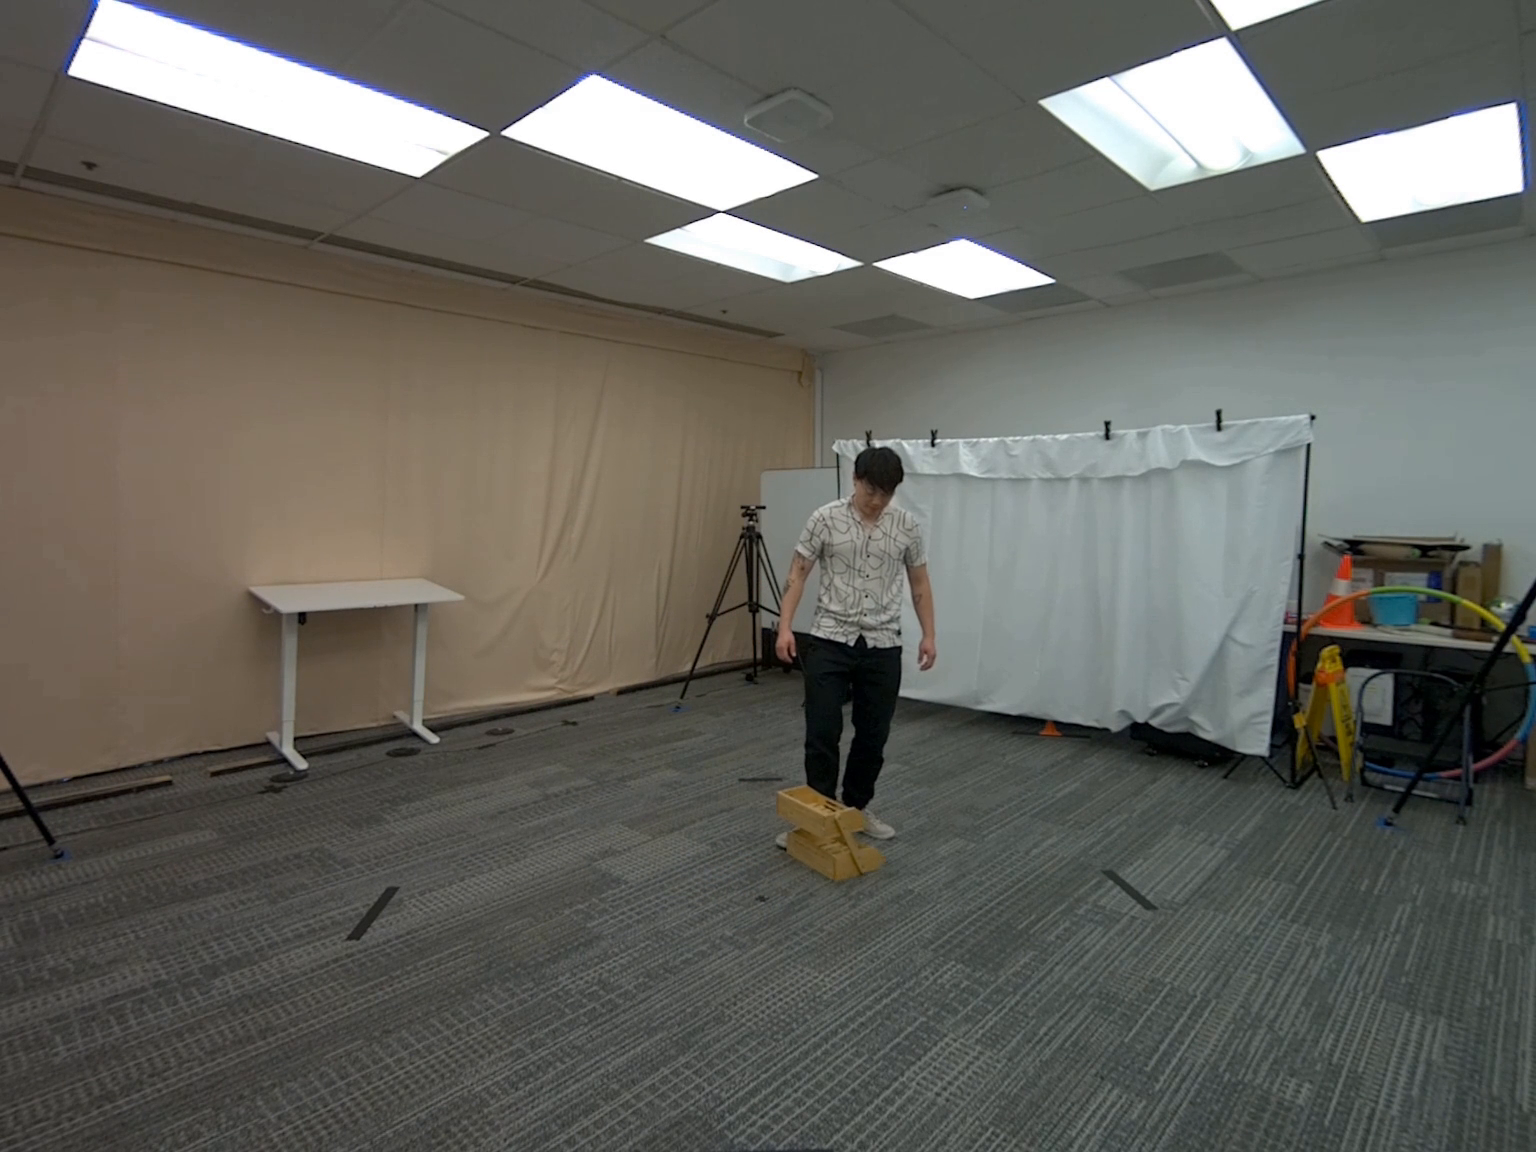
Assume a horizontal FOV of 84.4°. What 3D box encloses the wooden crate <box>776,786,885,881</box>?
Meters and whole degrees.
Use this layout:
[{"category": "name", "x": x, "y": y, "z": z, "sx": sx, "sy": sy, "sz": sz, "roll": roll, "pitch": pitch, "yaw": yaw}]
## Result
[{"category": "wooden crate", "x": 0.246, "y": 0.982, "z": 3.286, "sx": 0.293, "sy": 0.273, "sz": 0.334, "roll": -3, "pitch": 4, "yaw": -34}]
